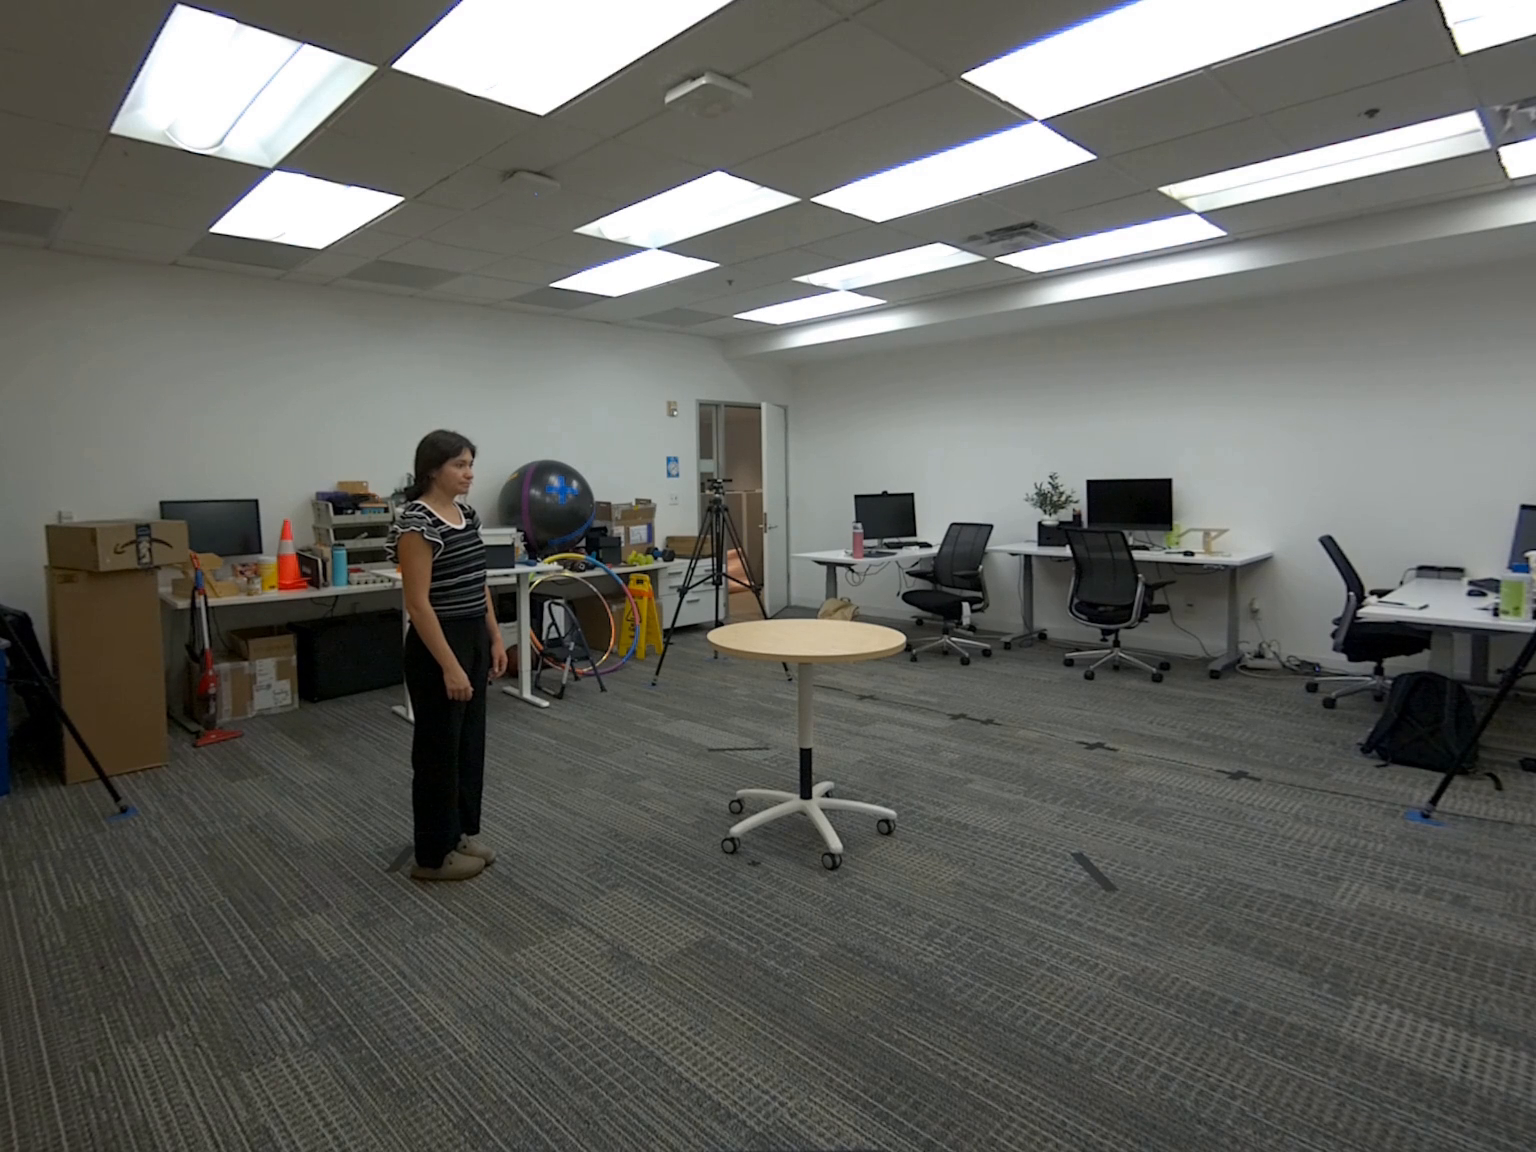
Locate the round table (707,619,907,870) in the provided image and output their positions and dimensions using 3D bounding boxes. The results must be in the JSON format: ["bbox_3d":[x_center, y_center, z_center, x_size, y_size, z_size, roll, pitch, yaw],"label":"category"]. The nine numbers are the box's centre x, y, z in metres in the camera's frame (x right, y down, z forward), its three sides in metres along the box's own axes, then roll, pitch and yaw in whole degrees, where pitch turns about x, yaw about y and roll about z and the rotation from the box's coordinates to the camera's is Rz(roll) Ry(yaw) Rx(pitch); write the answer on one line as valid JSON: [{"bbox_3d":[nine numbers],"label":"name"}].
[{"bbox_3d":[0.139,0.621,3.333,0.784,0.784,0.789,-1,4,-2],"label":"round table"}]
